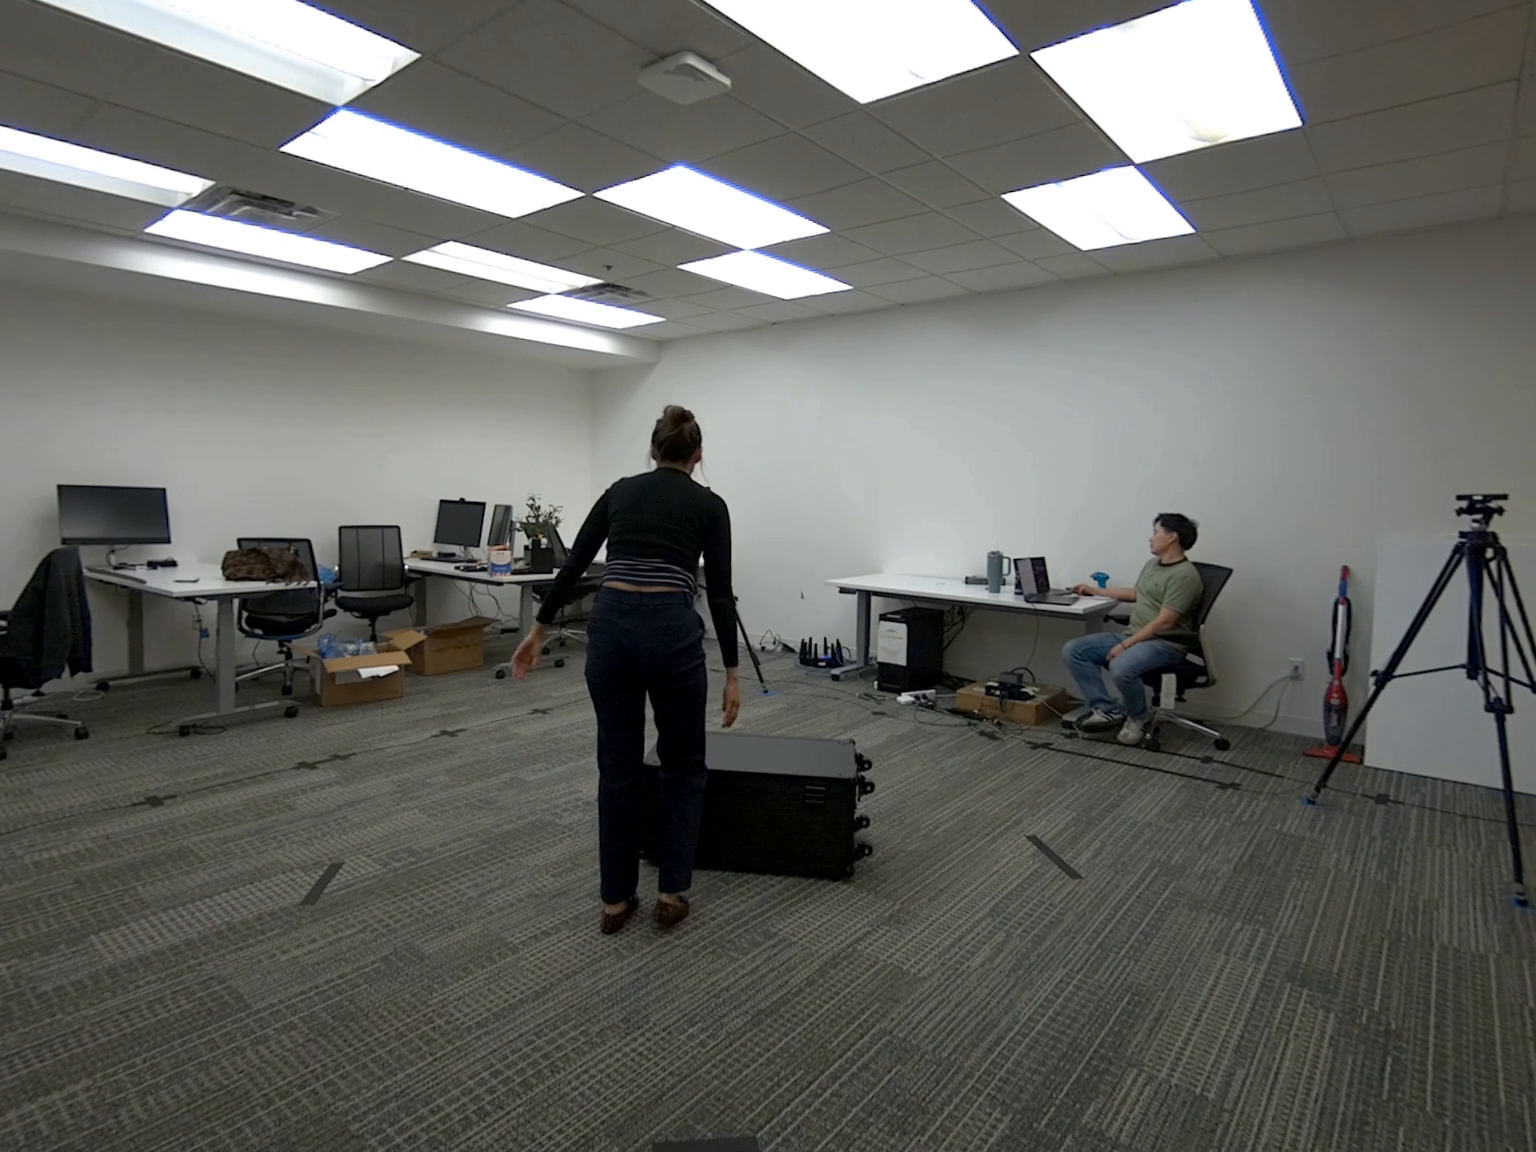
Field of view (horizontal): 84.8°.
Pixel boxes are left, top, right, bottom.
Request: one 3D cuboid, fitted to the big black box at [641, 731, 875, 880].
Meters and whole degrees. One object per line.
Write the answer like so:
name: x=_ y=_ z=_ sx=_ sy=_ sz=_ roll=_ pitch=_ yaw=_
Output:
big black box: x=-0.036 y=0.855 z=3.278 sx=0.869 sy=0.395 sz=0.519 roll=1 pitch=5 yaw=7
